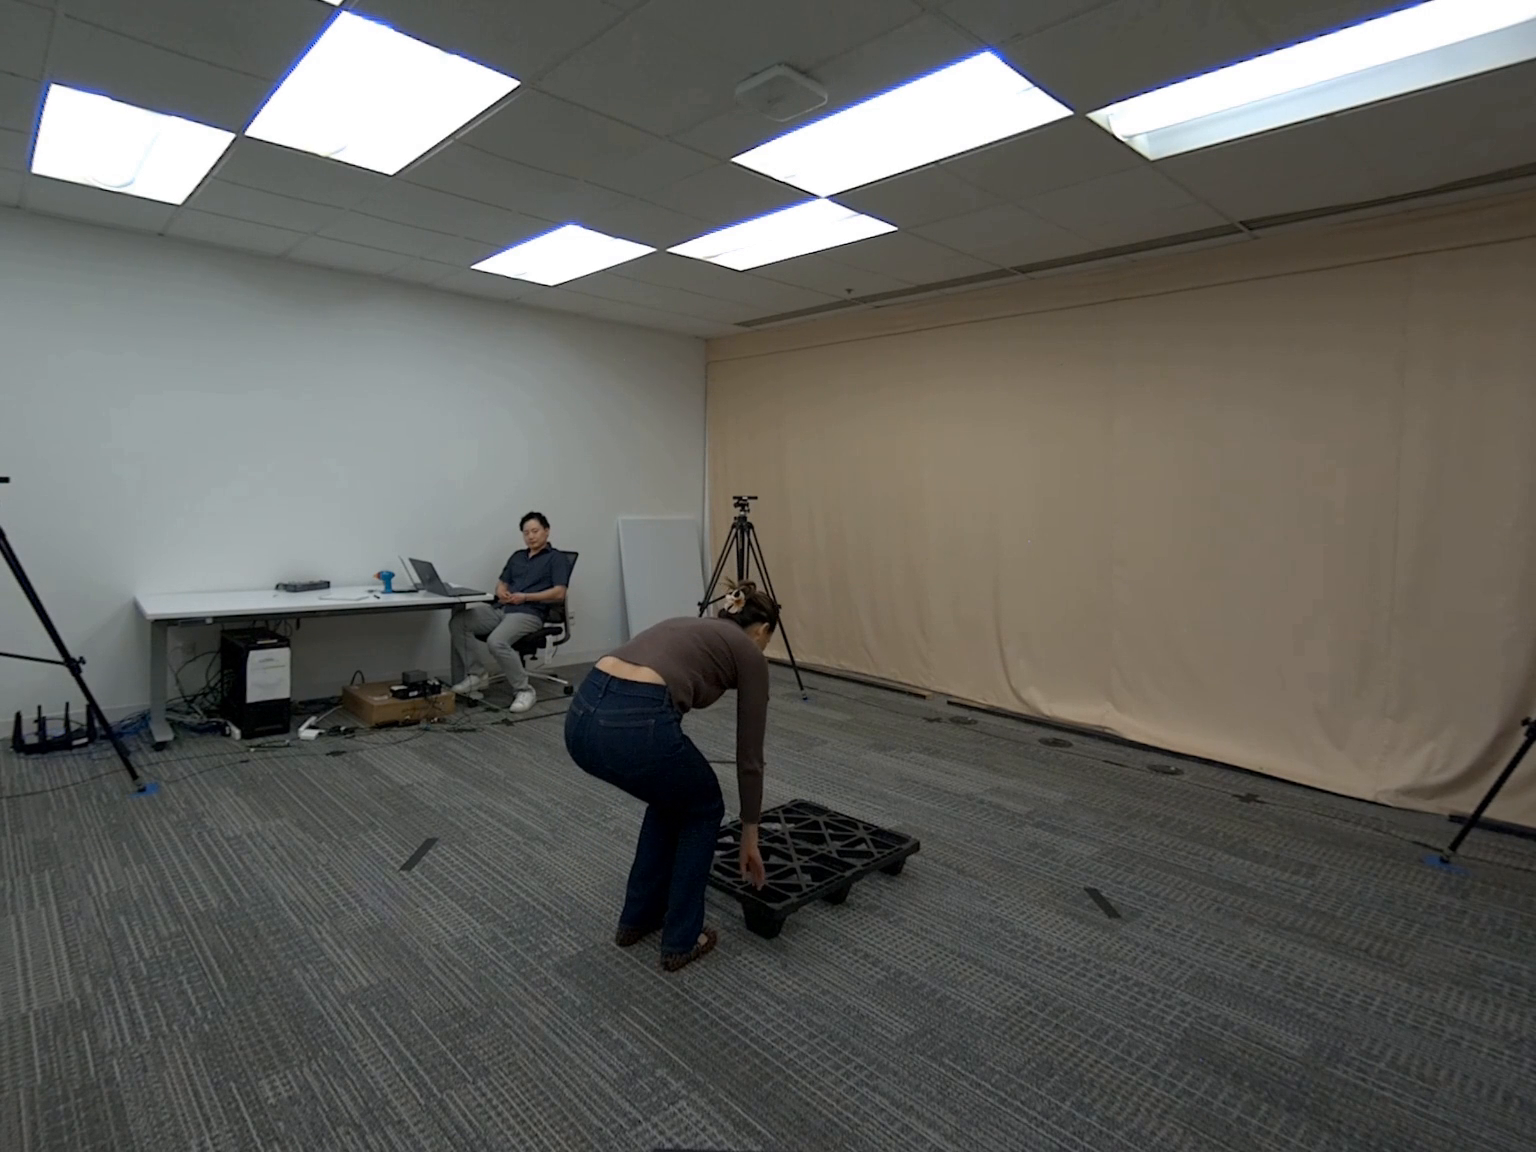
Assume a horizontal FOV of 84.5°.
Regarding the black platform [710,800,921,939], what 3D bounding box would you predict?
[{"bbox_3d":[0.070,1.045,3.063,0.620,0.143,0.787,5,6,44],"label":"black platform"}]
